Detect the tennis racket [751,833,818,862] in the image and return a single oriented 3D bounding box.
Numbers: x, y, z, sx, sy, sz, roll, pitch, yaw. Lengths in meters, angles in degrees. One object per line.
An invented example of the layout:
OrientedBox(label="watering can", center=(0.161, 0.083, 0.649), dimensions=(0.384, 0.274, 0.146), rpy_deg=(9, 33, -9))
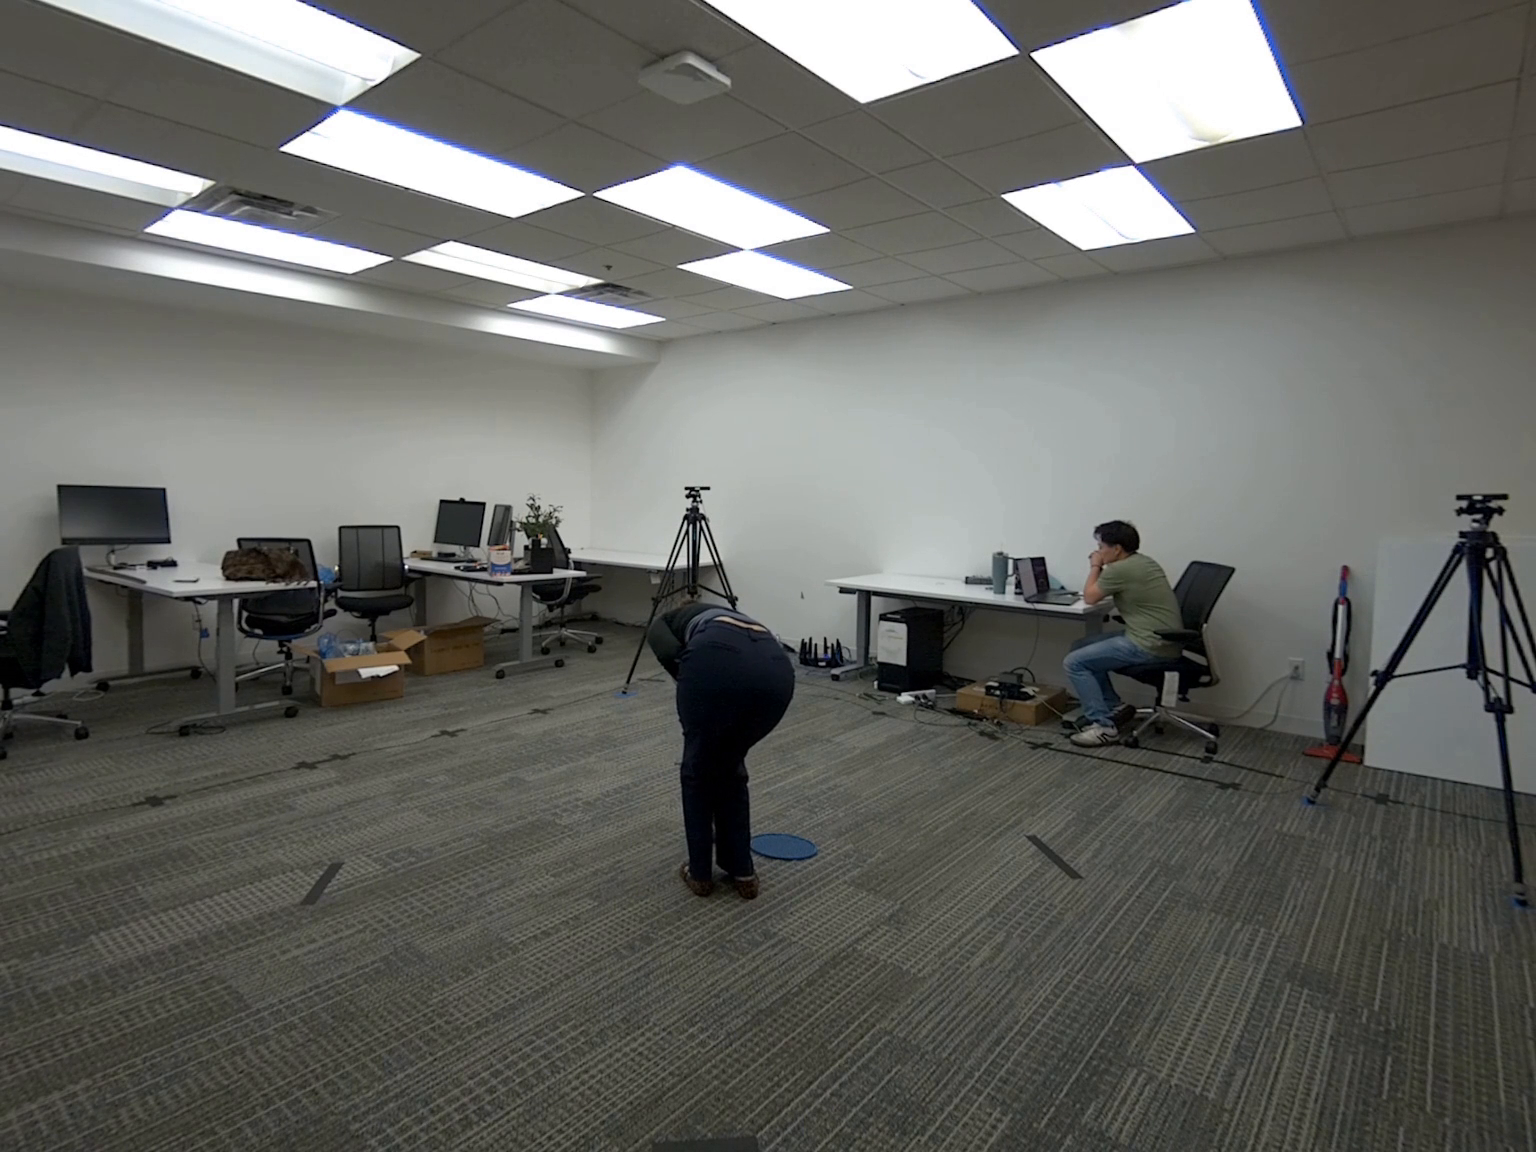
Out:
OrientedBox(label="tennis racket", center=(-0.034, 1.036, 3.293), dimensions=(0.436, 0.031, 0.213), rpy_deg=(3, 6, 6))
